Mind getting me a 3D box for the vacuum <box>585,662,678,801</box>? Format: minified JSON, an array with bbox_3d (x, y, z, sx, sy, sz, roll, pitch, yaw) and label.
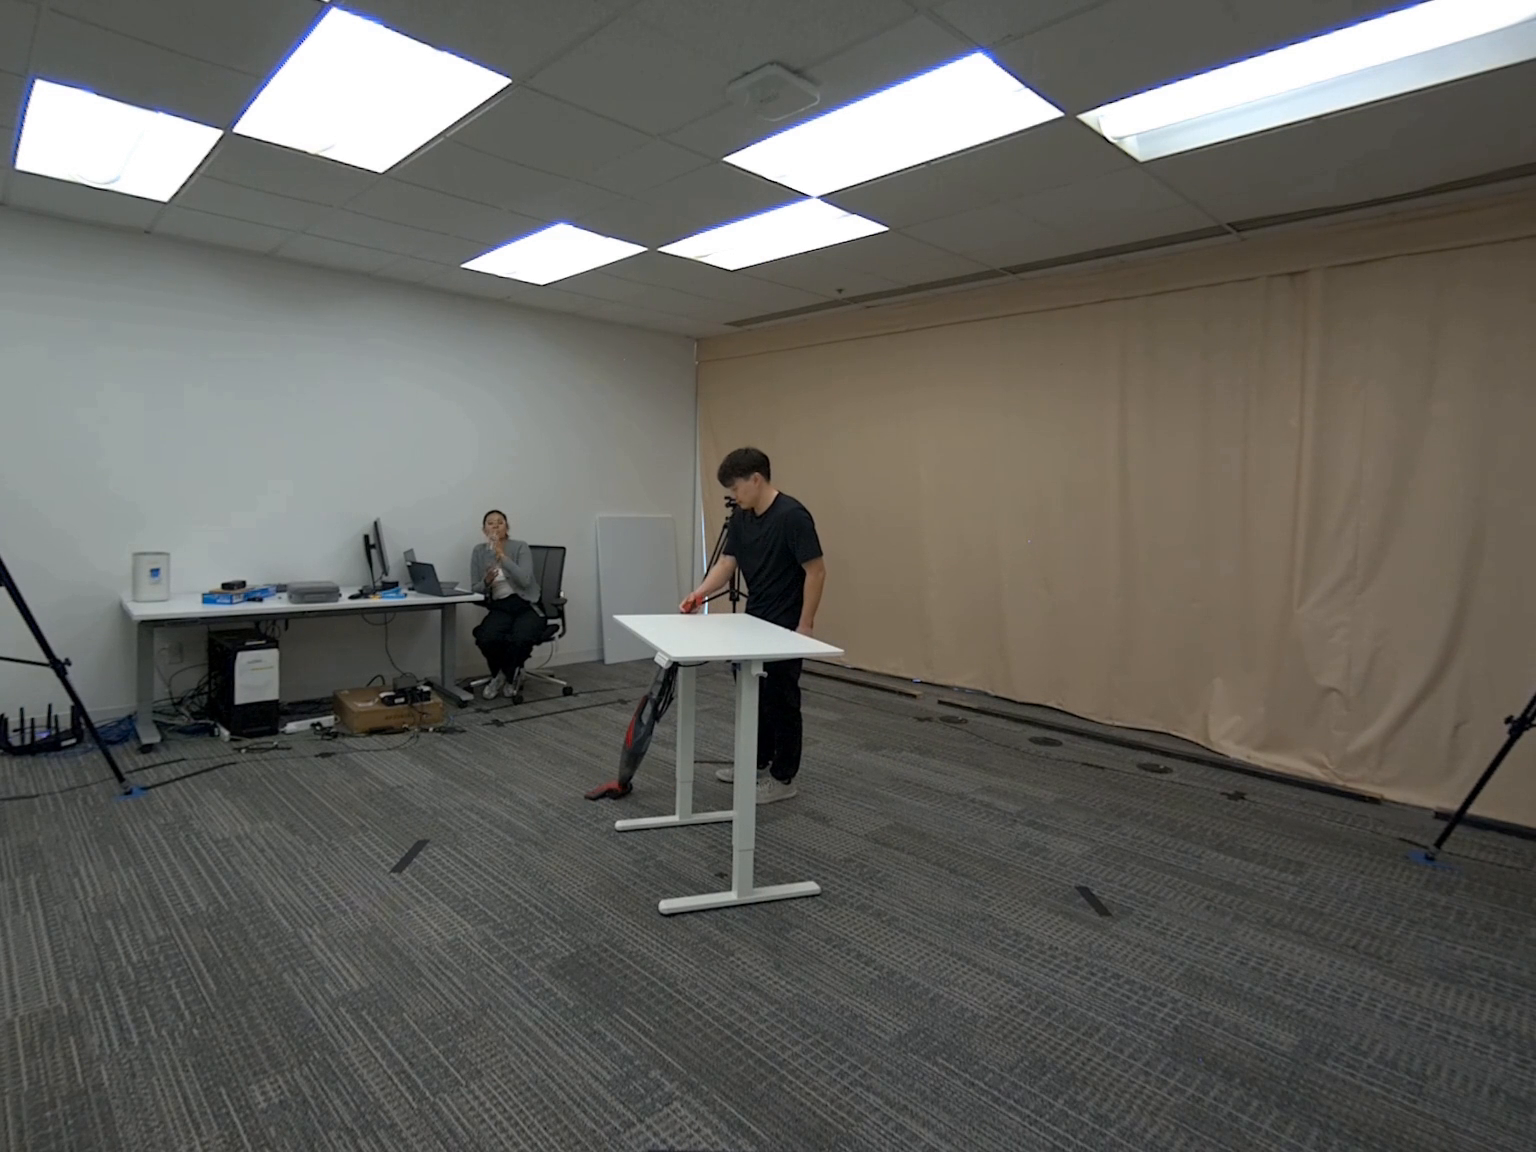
[{"bbox_3d":[-0.523,0.560,3.806,0.147,1.044,0.248,31,16,23],"label":"vacuum"}]
